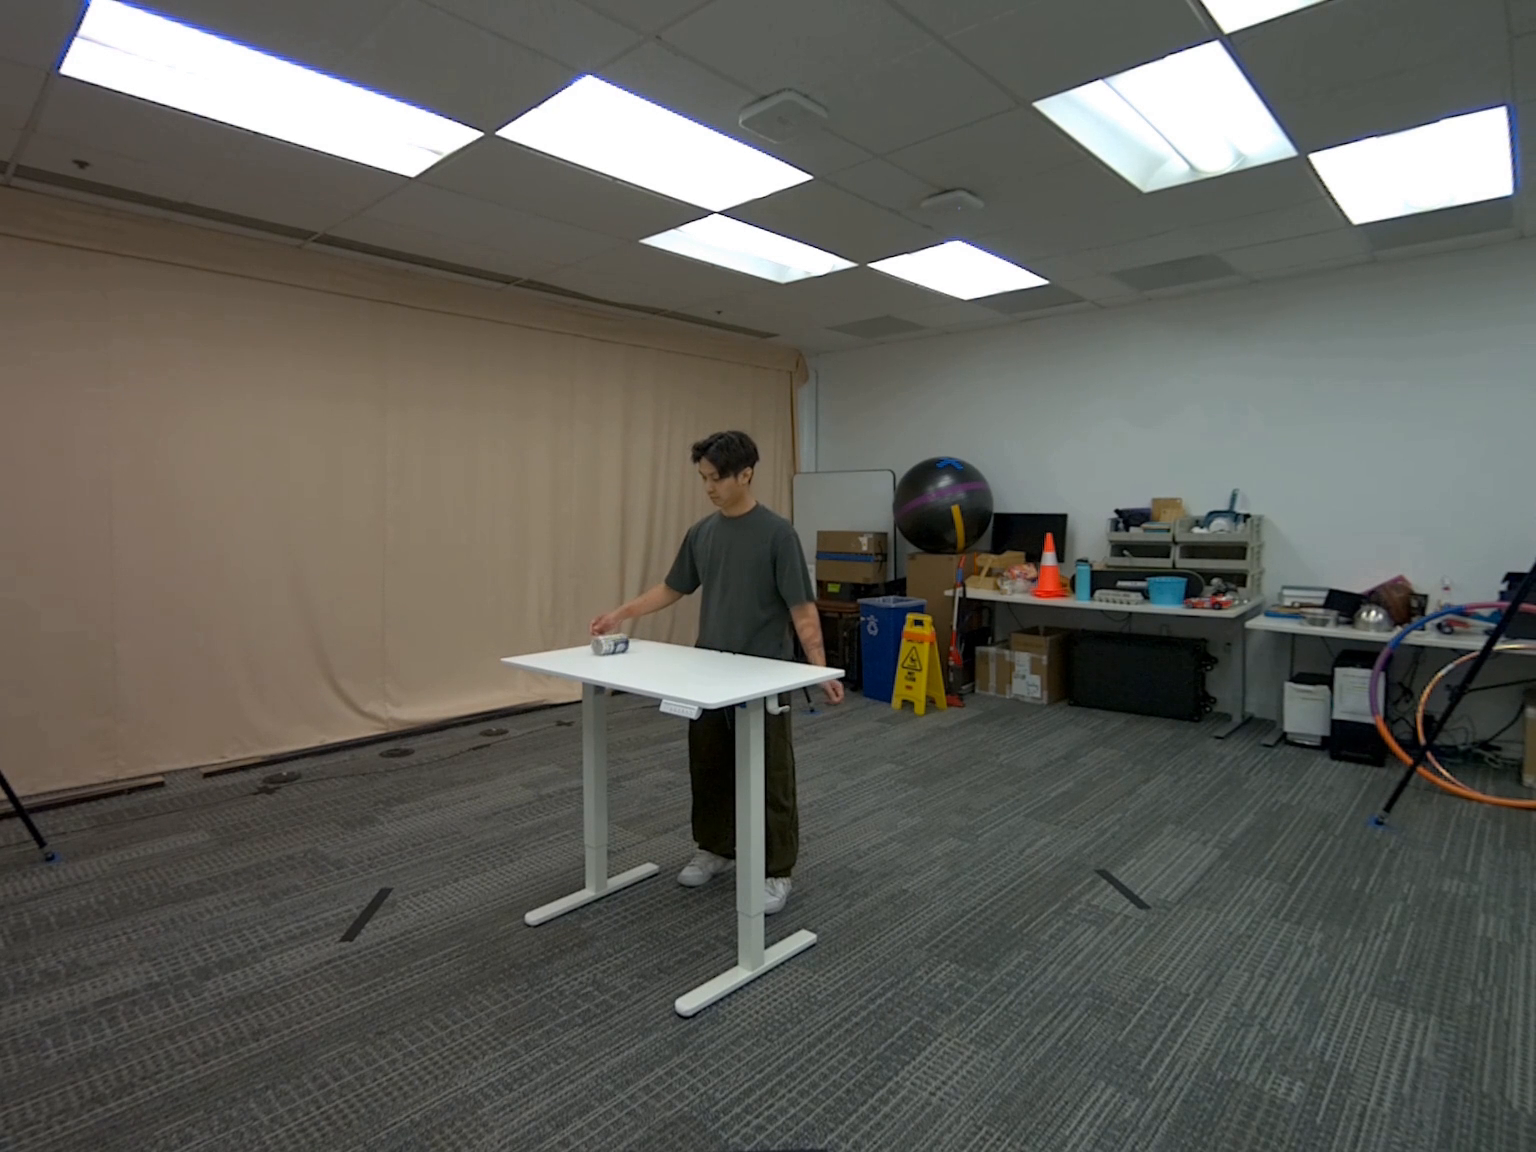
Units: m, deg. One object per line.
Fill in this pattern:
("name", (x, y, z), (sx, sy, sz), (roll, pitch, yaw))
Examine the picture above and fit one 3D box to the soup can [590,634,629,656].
("soup can", (-0.546, 0.243, 2.943), (0.118, 0.067, 0.069), (-4, 5, -43))
